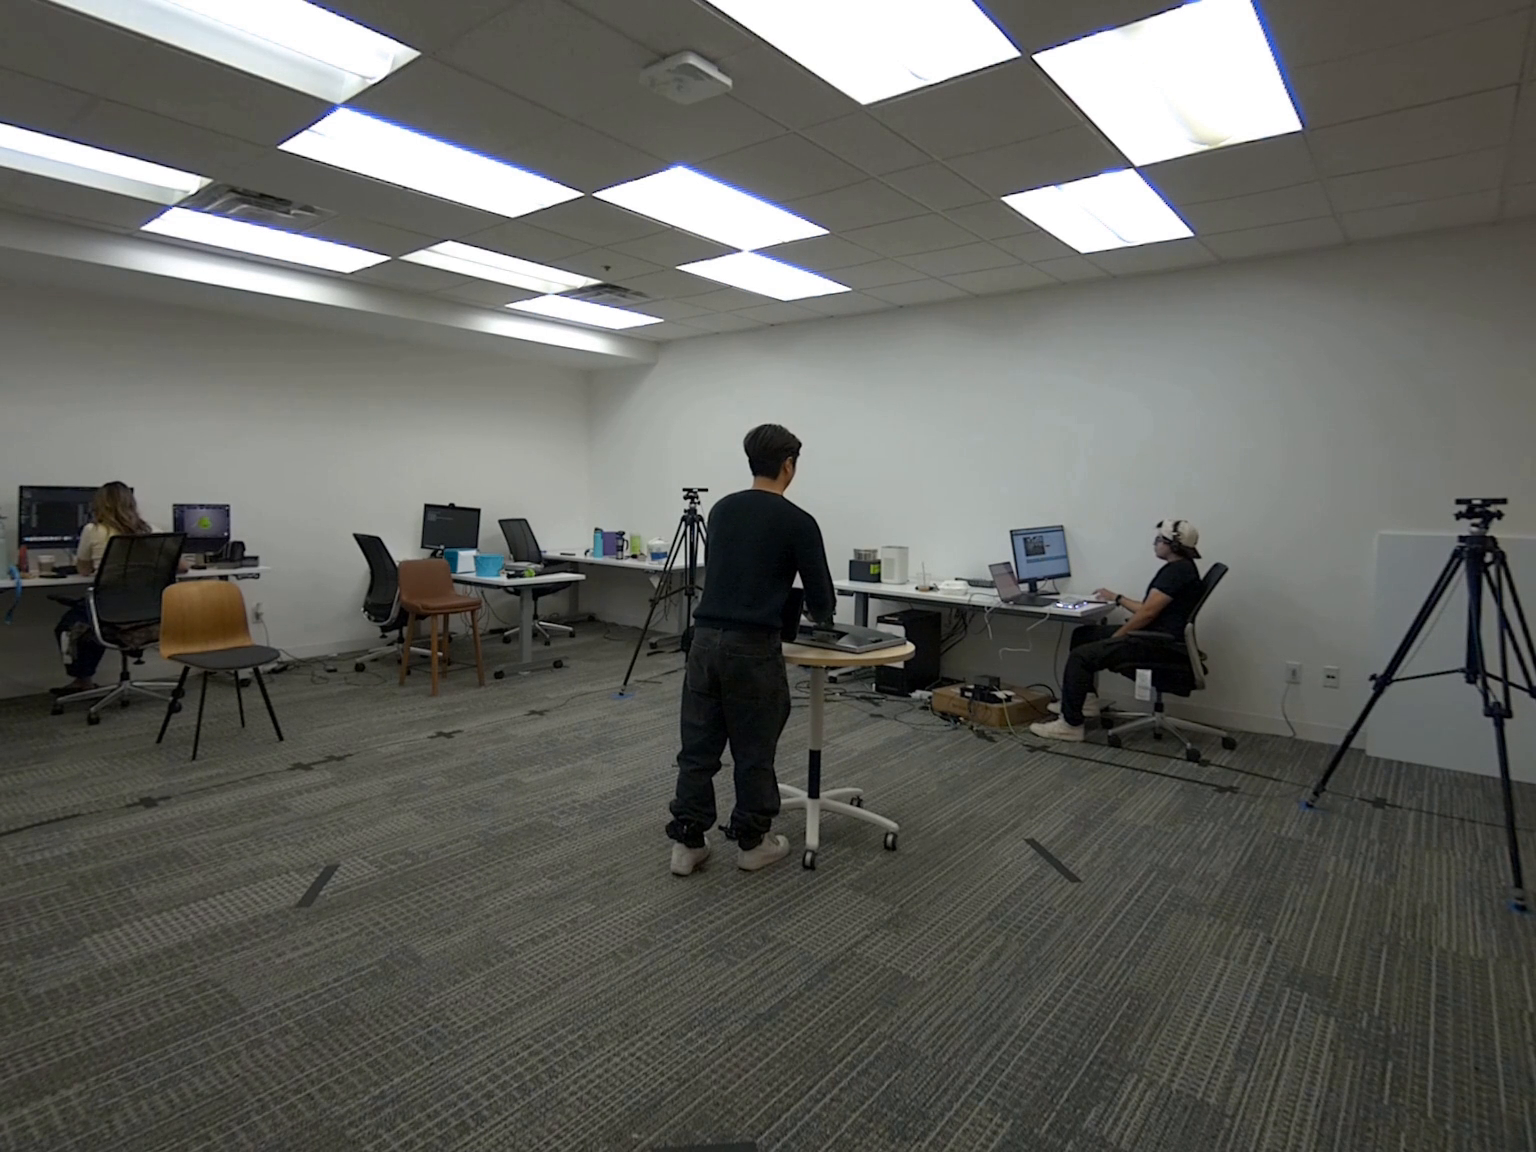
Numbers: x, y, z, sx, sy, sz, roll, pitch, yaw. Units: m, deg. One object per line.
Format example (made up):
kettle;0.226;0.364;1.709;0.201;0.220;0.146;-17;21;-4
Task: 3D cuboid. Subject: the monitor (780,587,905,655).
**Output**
monitor;0.181;0.187;3.440;0.558;0.188;0.502;8;-7;41
